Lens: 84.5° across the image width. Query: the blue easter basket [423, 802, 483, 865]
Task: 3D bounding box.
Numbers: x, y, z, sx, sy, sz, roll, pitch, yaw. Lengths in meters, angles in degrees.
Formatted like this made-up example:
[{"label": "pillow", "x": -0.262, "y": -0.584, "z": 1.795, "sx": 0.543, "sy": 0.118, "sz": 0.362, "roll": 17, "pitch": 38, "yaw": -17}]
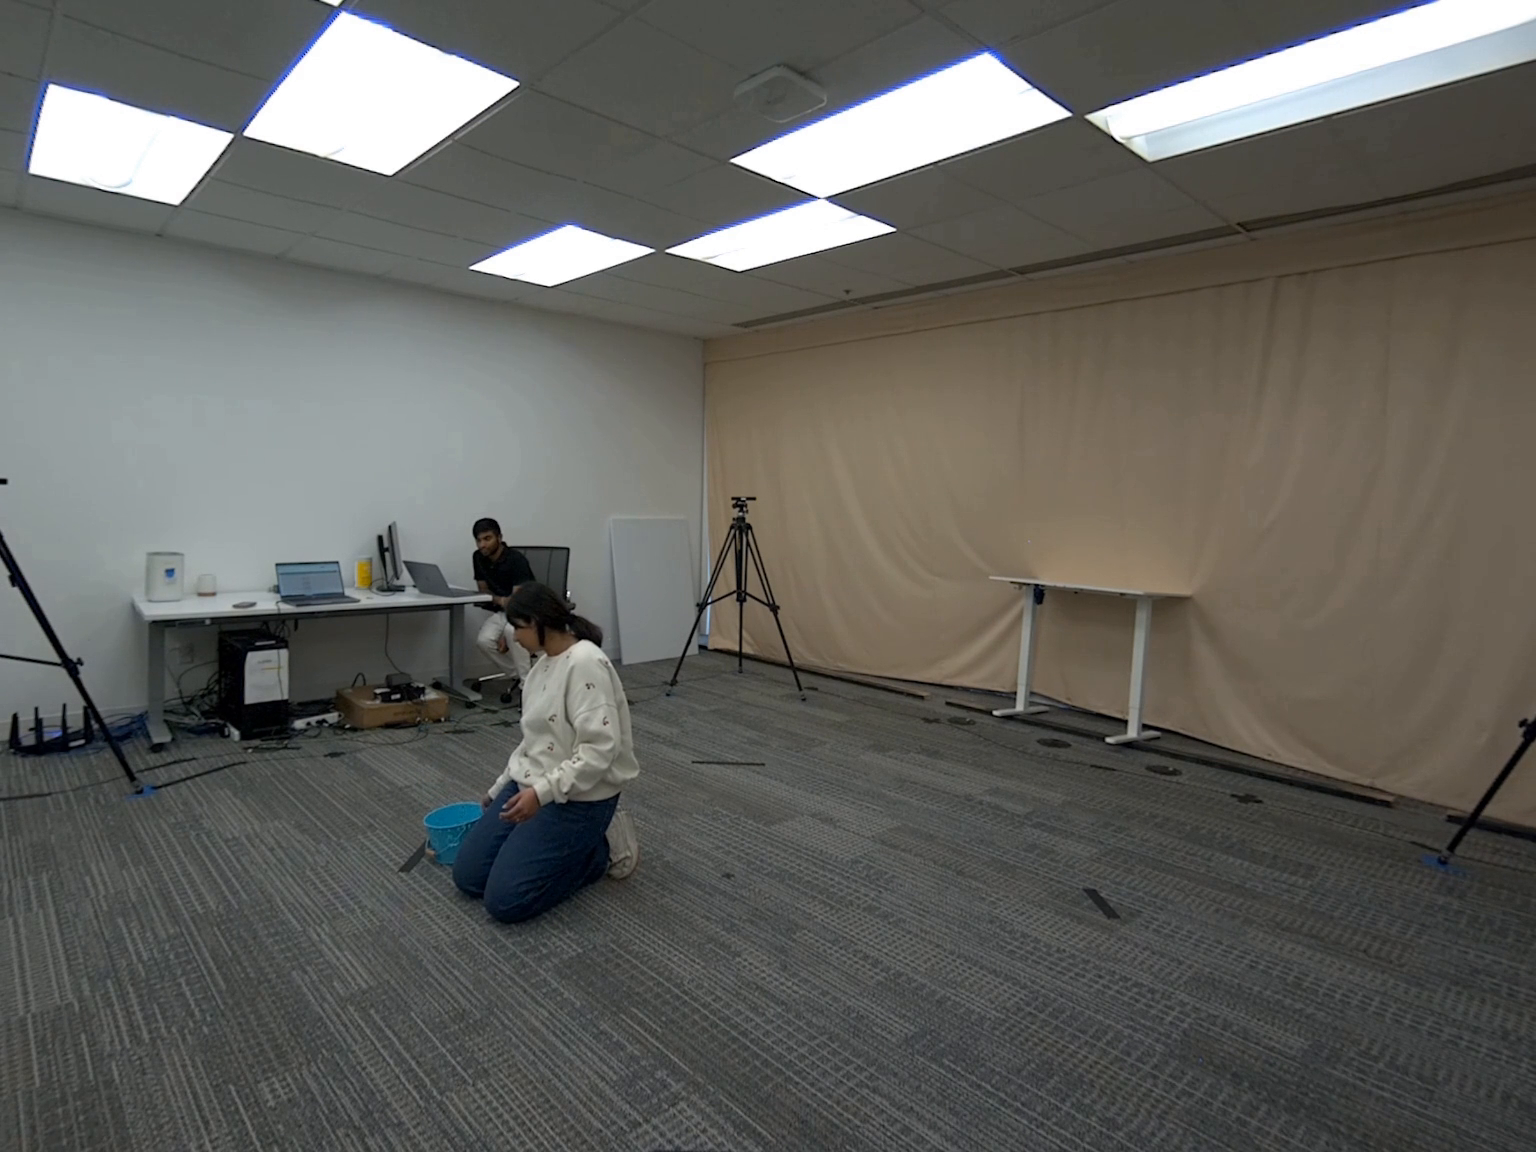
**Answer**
[{"label": "blue easter basket", "x": -1.199, "y": 0.981, "z": 3.230, "sx": 0.243, "sy": 0.155, "sz": 0.245, "roll": -3, "pitch": 7, "yaw": -1}]
